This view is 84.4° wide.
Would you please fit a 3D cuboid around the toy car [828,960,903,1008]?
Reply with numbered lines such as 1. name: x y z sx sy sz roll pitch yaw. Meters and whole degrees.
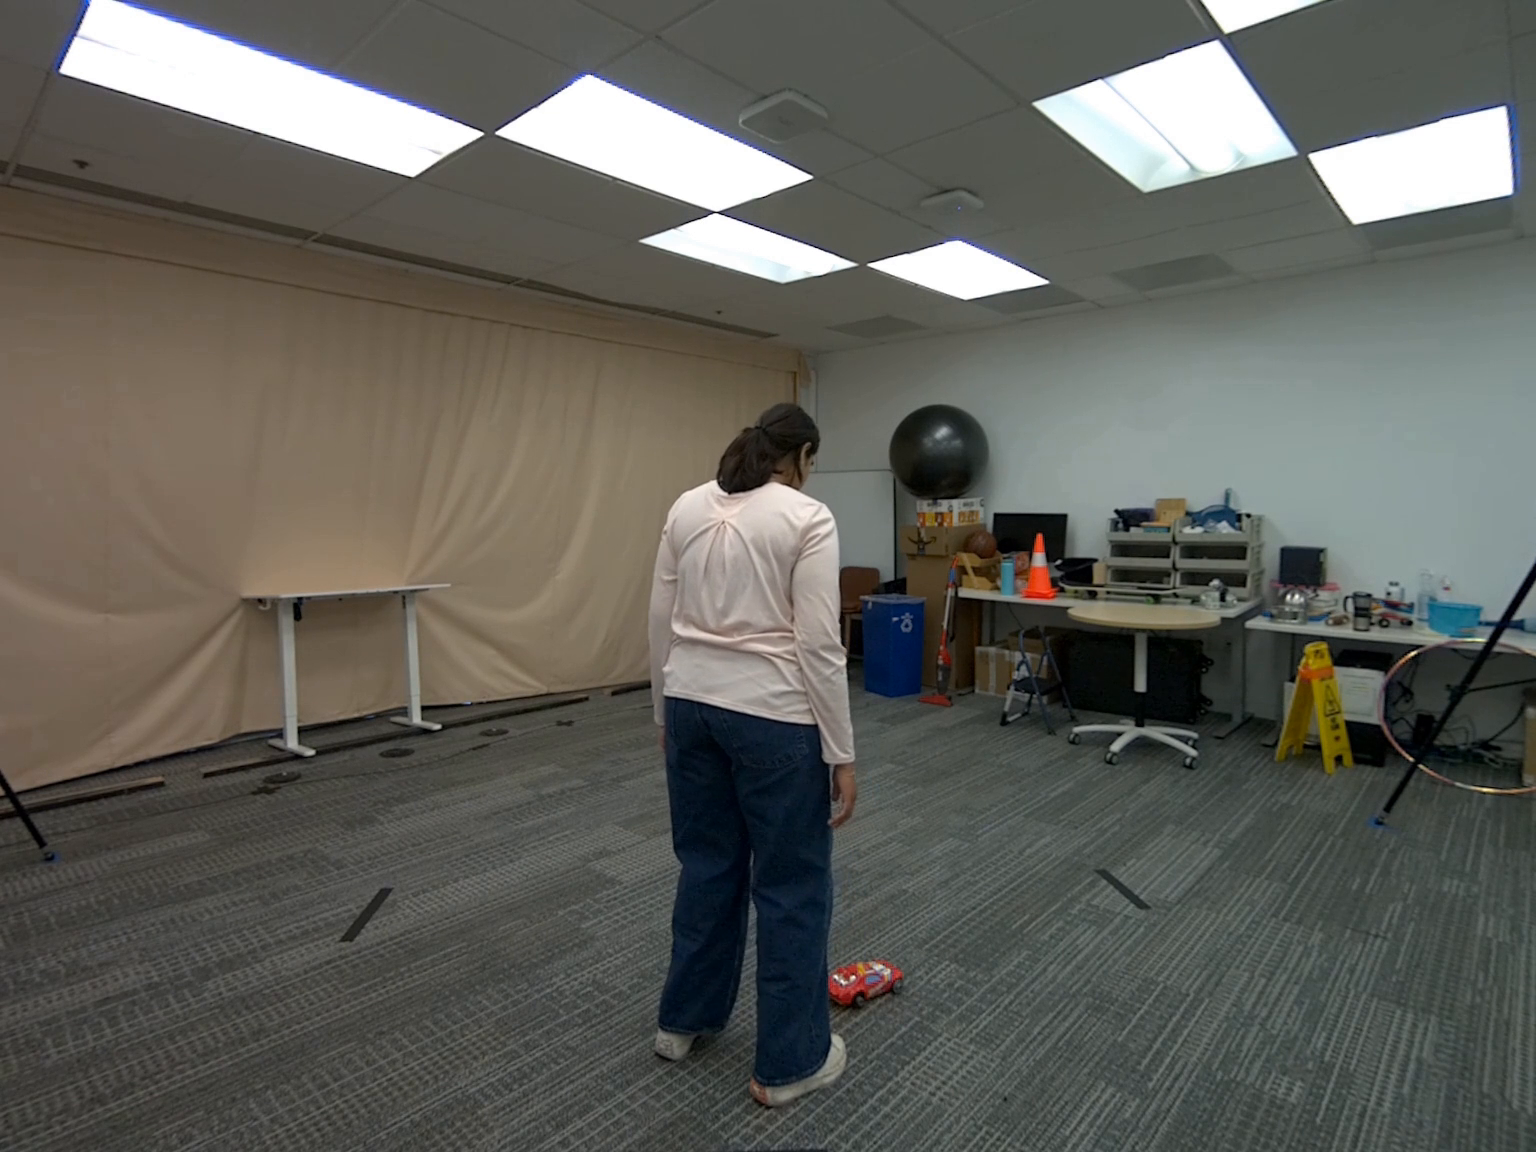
1. toy car: 0.267 1.163 2.397 0.247 0.083 0.134 10 -2 -31
